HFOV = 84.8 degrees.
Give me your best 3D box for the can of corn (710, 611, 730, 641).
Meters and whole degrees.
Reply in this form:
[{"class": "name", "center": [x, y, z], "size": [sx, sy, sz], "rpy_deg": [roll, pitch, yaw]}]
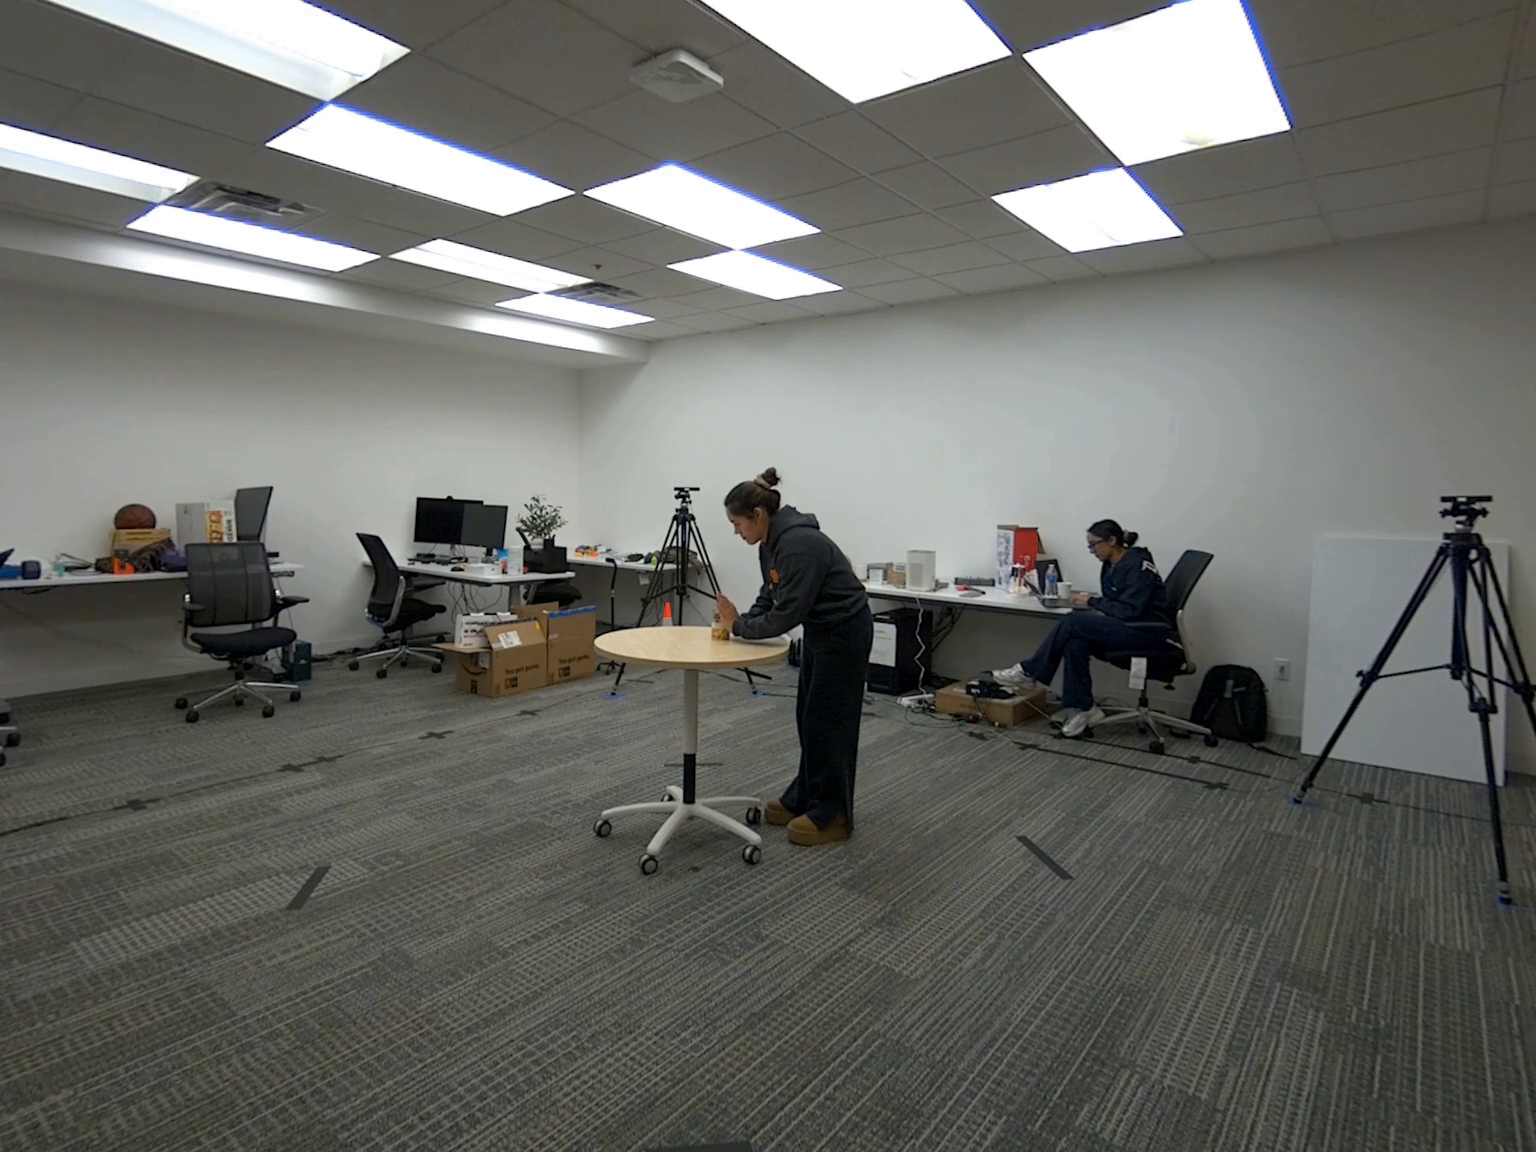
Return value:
[{"class": "can of corn", "center": [-0.197, 0.196, 3.448], "size": [0.074, 0.110, 0.074], "rpy_deg": [2, 4, -2]}]
